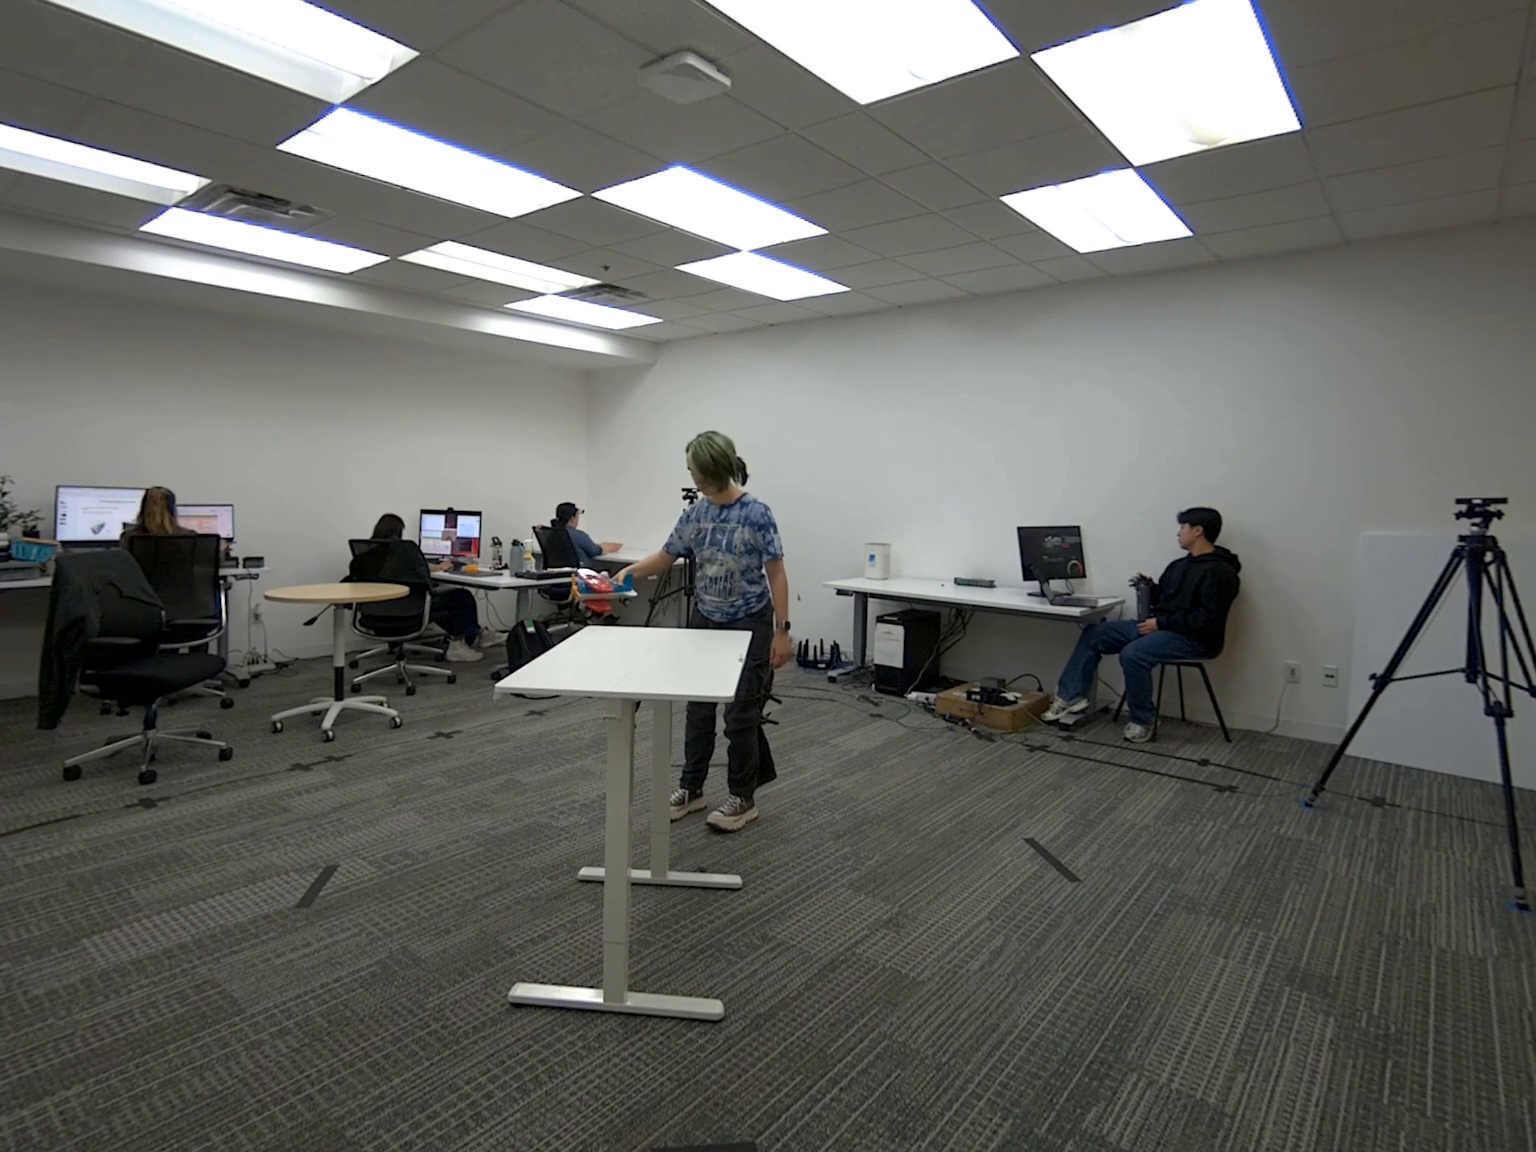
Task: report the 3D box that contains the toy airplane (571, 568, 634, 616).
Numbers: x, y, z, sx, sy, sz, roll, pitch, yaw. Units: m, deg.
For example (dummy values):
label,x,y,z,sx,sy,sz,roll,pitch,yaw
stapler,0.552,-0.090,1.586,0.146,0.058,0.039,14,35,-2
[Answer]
label,x,y,z,sx,sy,sz,roll,pitch,yaw
toy airplane,-0.685,0.057,3.401,0.259,0.153,0.256,12,26,30
